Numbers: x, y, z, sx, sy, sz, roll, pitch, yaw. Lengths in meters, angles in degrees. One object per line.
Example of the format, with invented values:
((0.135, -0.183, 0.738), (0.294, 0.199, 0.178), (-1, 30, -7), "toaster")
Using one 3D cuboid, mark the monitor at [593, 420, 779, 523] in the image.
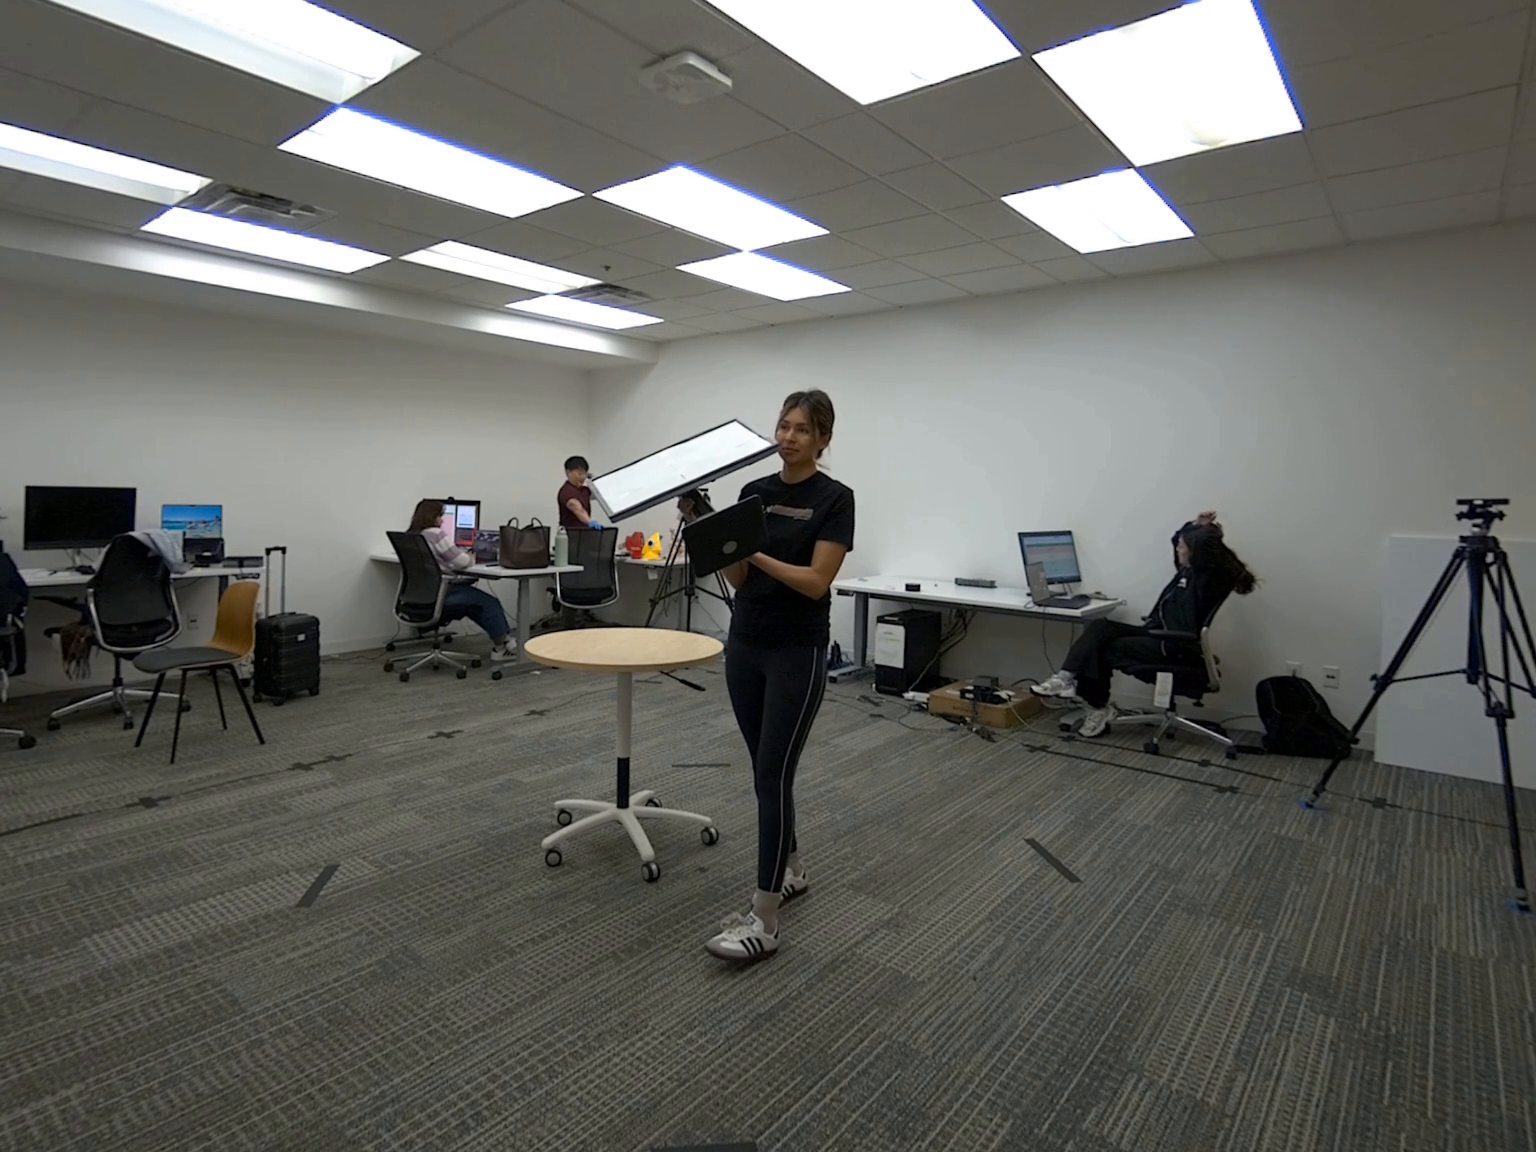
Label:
((-0.245, -0.268, 2.631), (0.535, 0.180, 0.545), (-23, 42, -11), "monitor")
